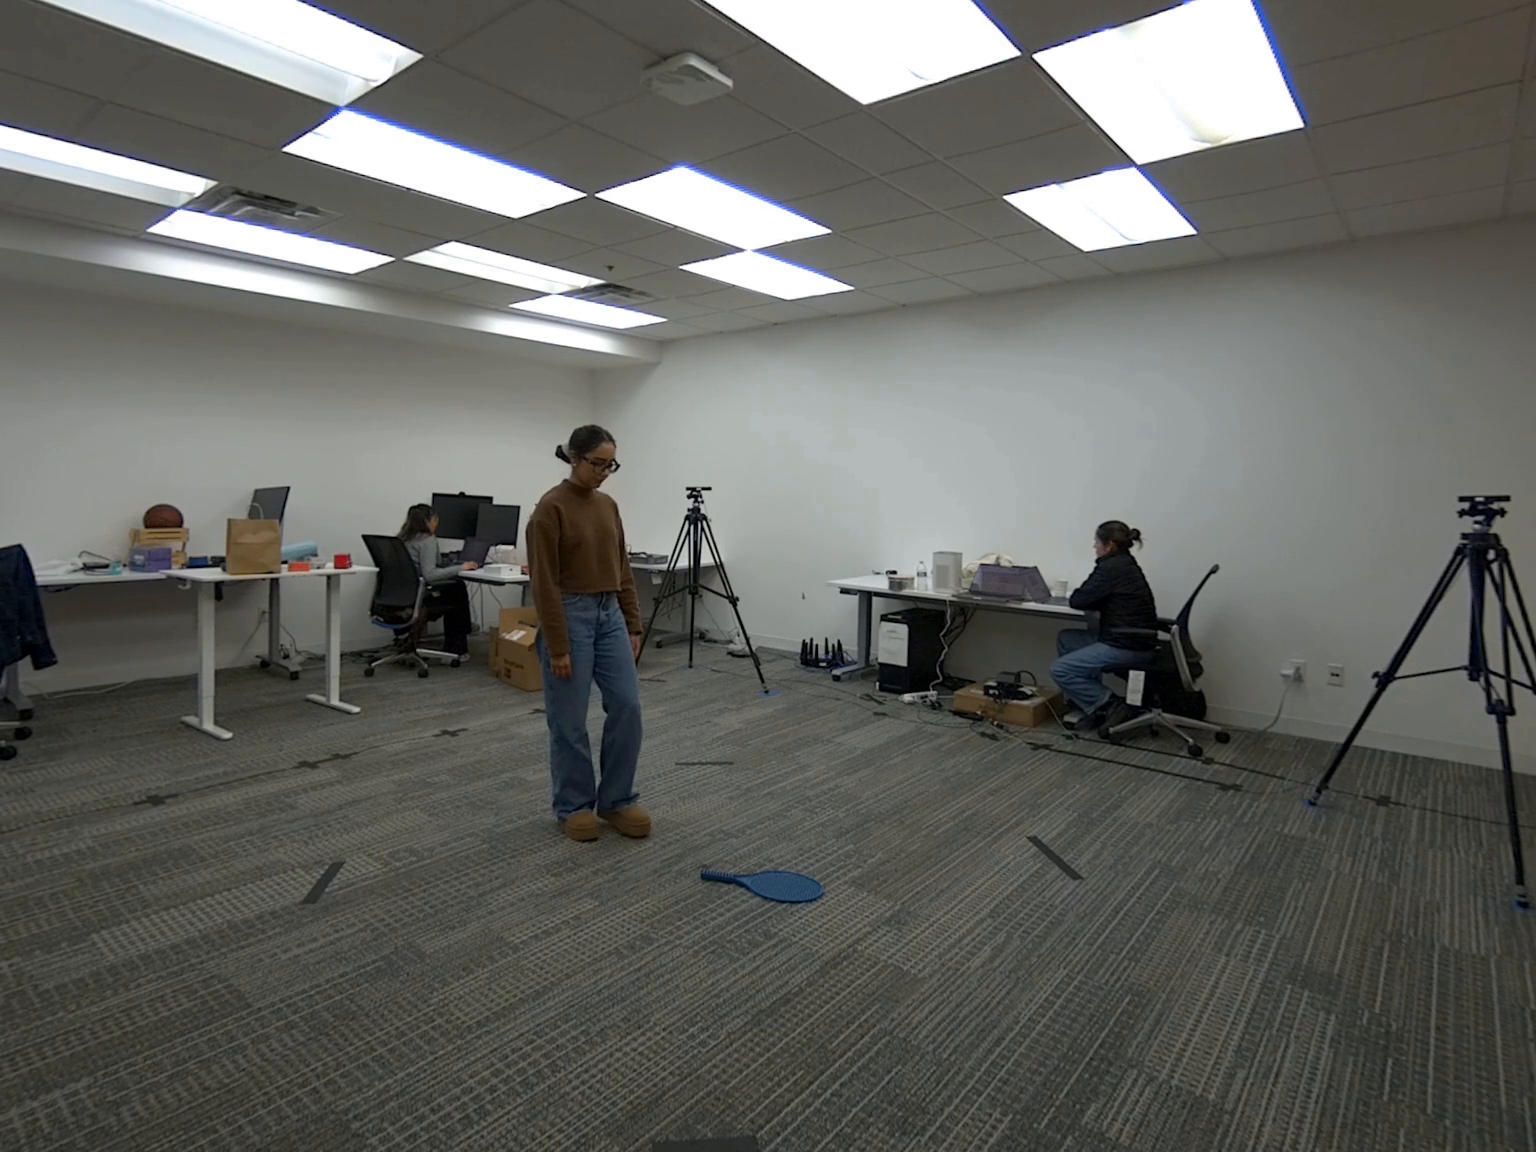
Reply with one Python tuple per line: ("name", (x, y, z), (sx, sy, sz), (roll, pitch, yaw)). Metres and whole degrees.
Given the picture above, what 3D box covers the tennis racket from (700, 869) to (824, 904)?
("tennis racket", (-0.031, 1.066, 2.979), (0.439, 0.031, 0.211), (4, 6, 12))
